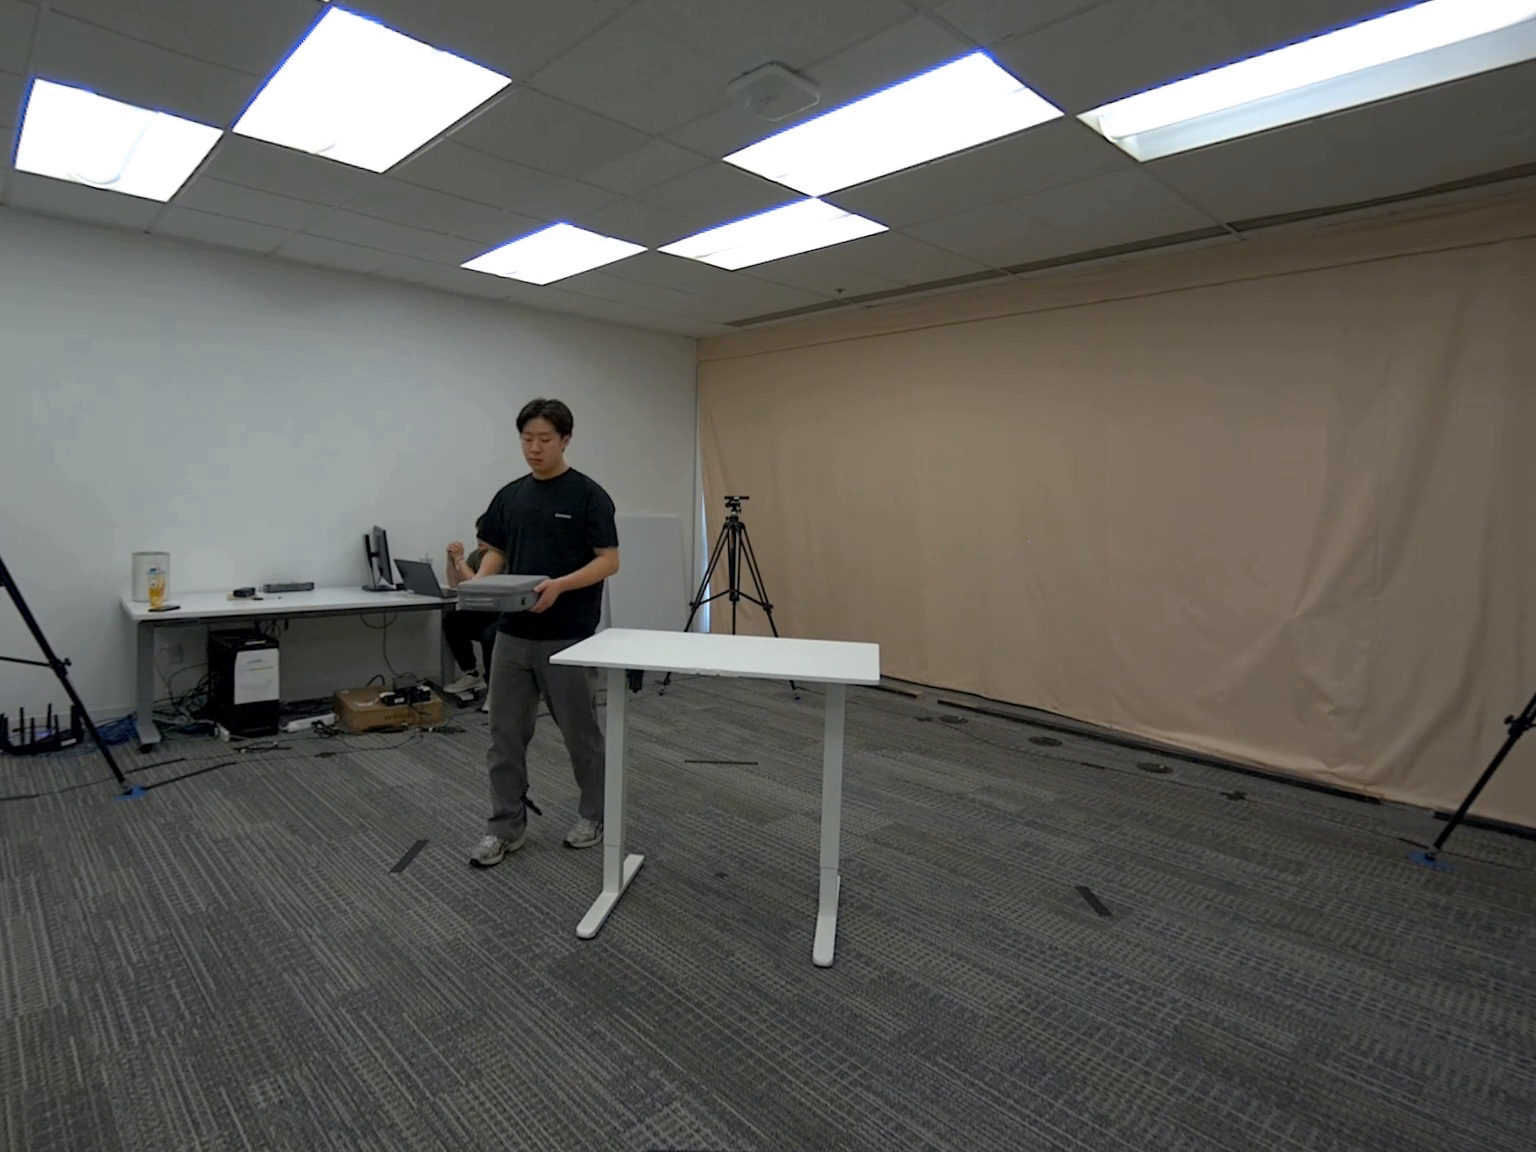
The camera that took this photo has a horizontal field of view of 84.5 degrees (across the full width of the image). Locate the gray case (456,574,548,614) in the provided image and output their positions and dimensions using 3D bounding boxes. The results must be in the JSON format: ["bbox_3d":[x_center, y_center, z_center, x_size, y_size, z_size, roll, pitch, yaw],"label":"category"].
[{"bbox_3d":[-0.947,0.063,3.020,0.267,0.102,0.285,0,7,16],"label":"gray case"}]
